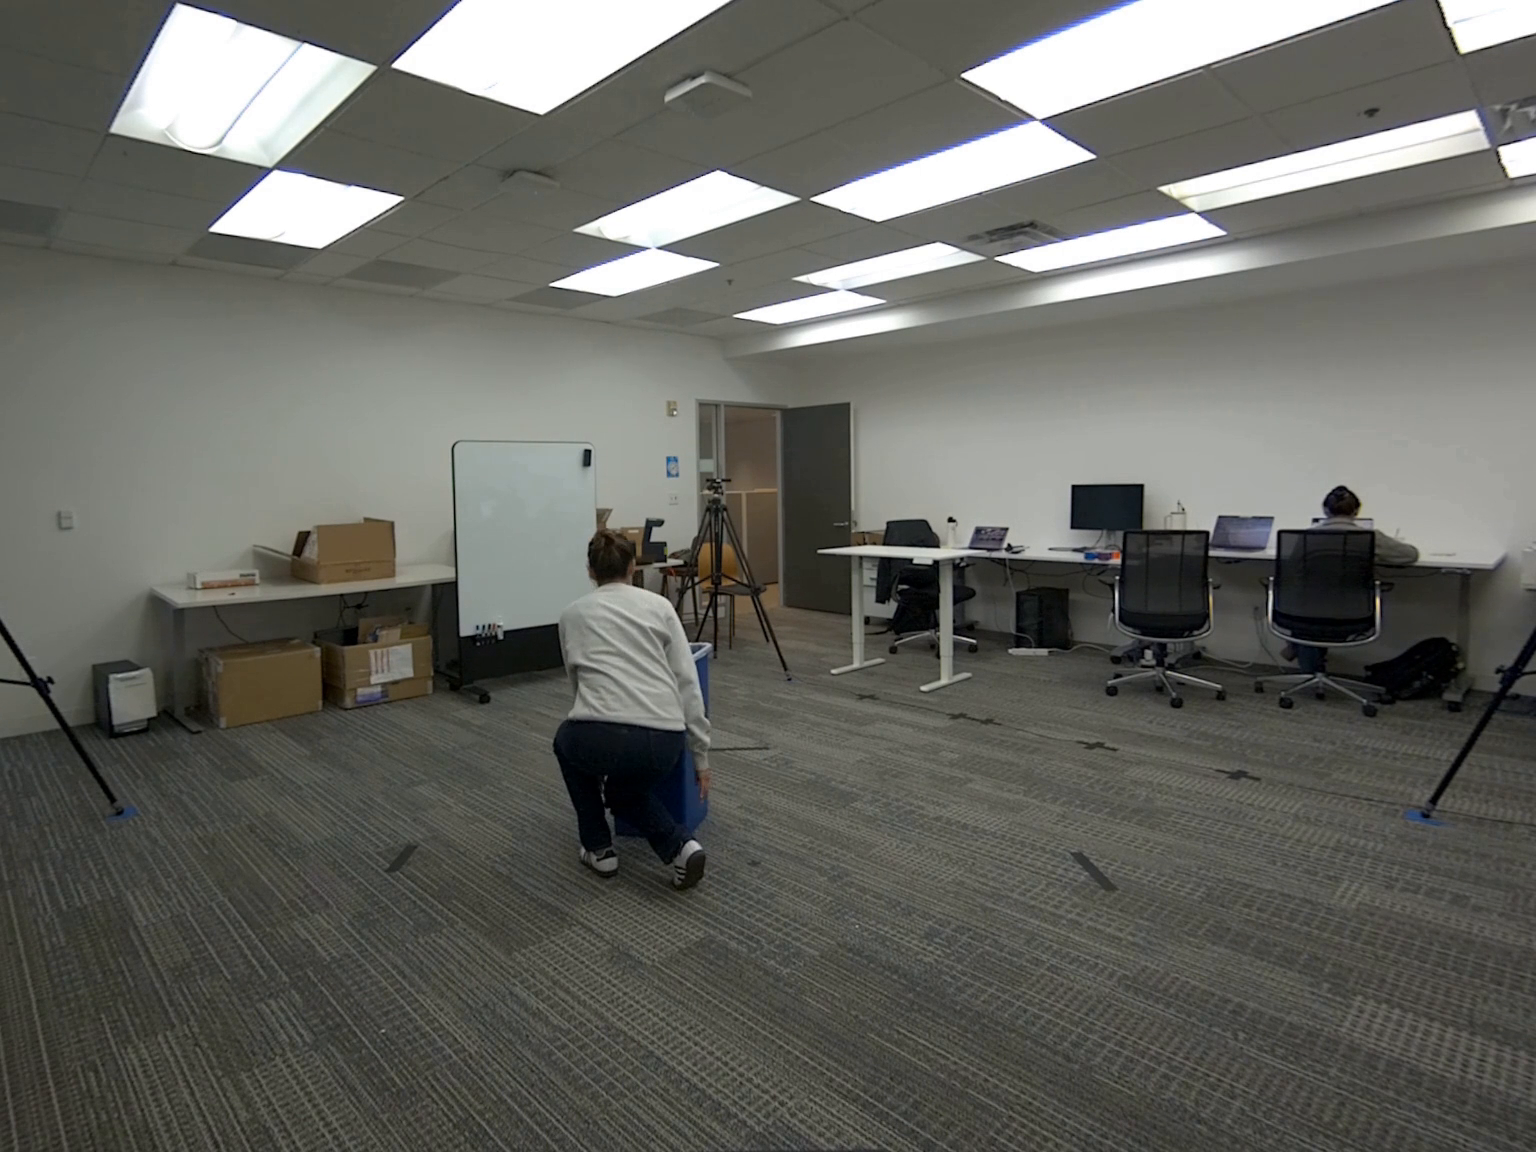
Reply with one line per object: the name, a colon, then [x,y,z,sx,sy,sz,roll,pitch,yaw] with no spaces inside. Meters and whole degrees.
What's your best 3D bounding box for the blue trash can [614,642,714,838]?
blue trash can: [-0.436,0.656,3.452,0.384,0.711,0.369,0,4,16]
